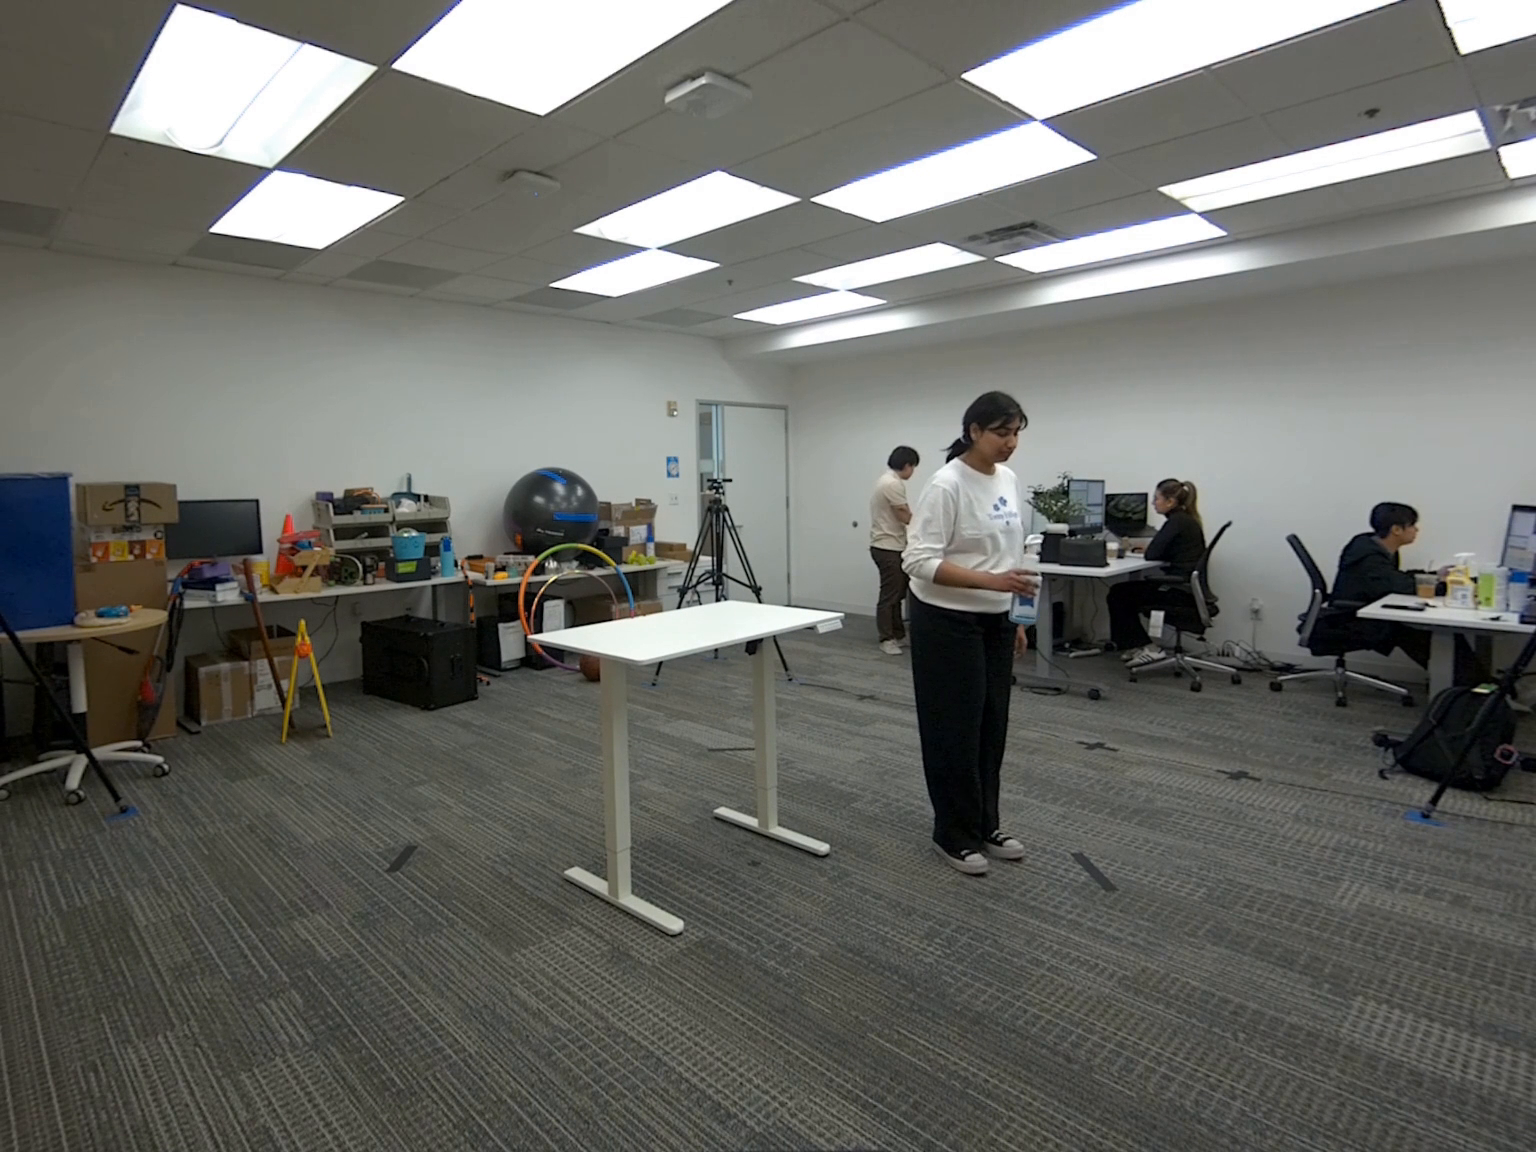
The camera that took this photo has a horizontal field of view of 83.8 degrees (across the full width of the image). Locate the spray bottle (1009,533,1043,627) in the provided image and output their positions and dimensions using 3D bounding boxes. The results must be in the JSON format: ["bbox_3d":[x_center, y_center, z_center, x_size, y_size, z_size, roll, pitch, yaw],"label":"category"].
[{"bbox_3d":[0.872,0.013,2.855,0.088,0.297,0.089,6,3,-17],"label":"spray bottle"}]
